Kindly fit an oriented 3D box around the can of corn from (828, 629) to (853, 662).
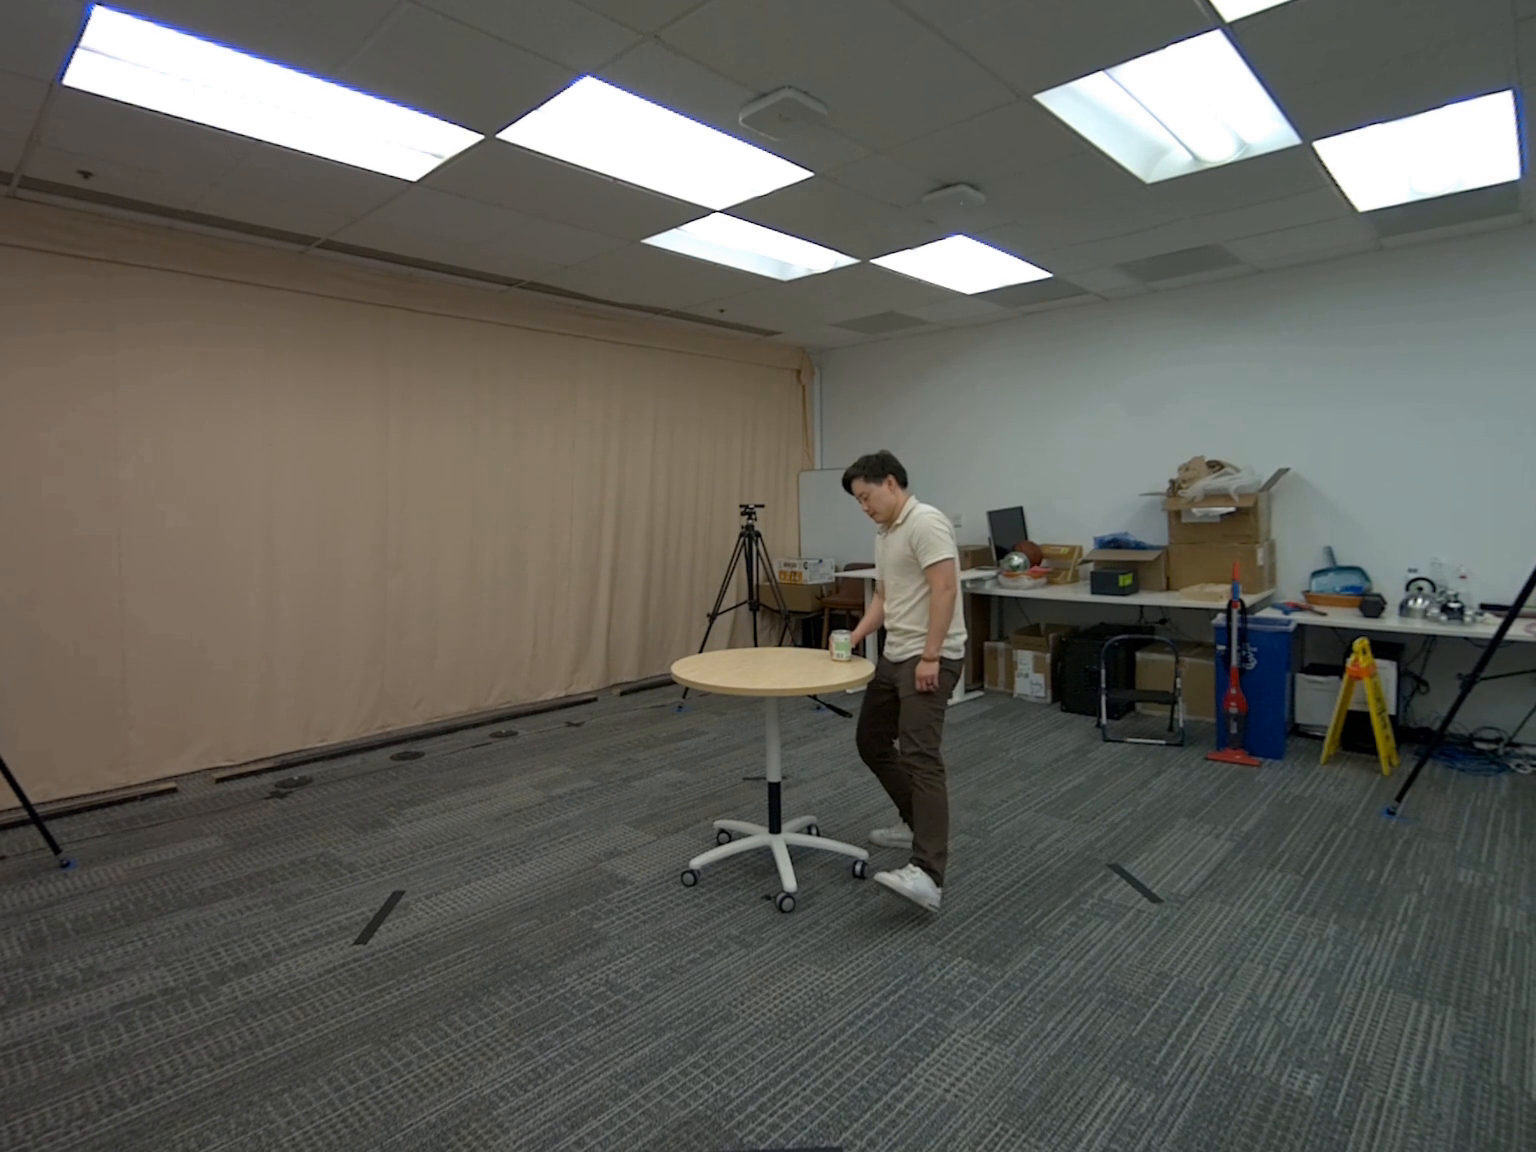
[{"bbox_3d":[0.289,0.273,3.256,0.074,0.111,0.074,1,1,-2],"label":"can of corn"}]
